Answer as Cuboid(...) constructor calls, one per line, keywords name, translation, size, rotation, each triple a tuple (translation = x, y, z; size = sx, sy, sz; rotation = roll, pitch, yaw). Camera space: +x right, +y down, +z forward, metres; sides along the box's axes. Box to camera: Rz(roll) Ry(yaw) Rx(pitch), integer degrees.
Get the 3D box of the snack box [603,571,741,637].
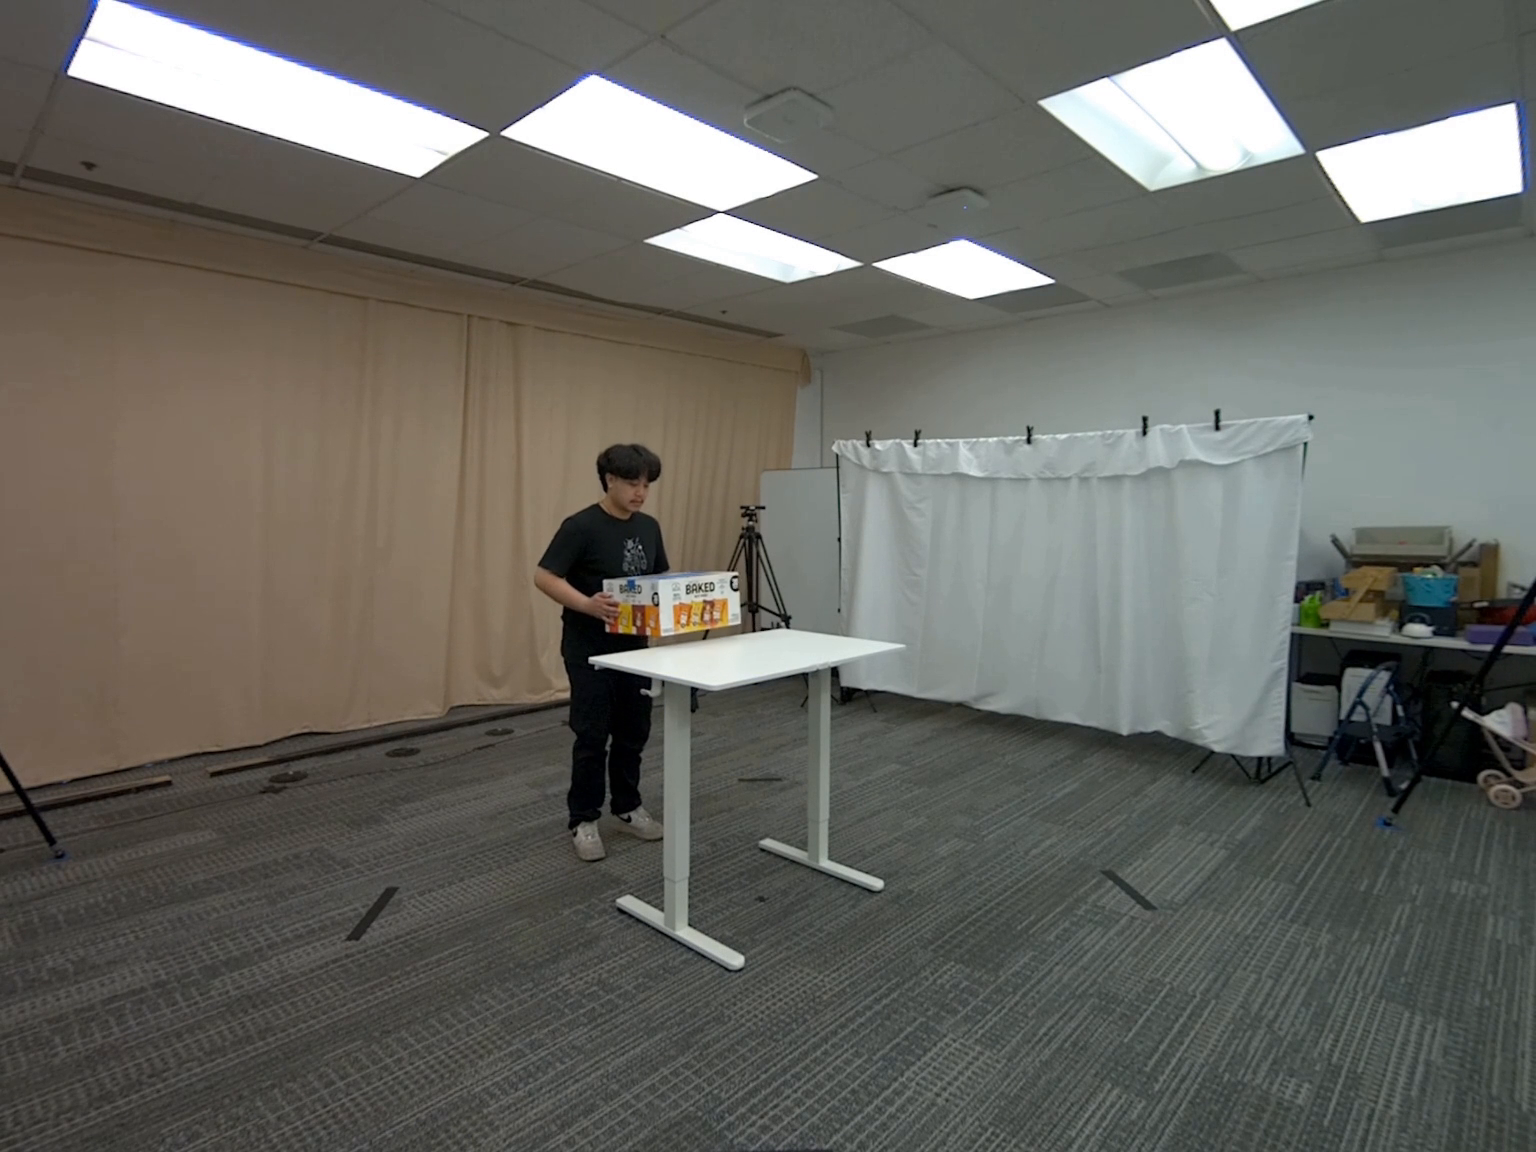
Cuboid(name="snack box", translation=(-0.369, 0.101, 3.251), size=(0.351, 0.205, 0.393), rotation=(1, 4, 45))
